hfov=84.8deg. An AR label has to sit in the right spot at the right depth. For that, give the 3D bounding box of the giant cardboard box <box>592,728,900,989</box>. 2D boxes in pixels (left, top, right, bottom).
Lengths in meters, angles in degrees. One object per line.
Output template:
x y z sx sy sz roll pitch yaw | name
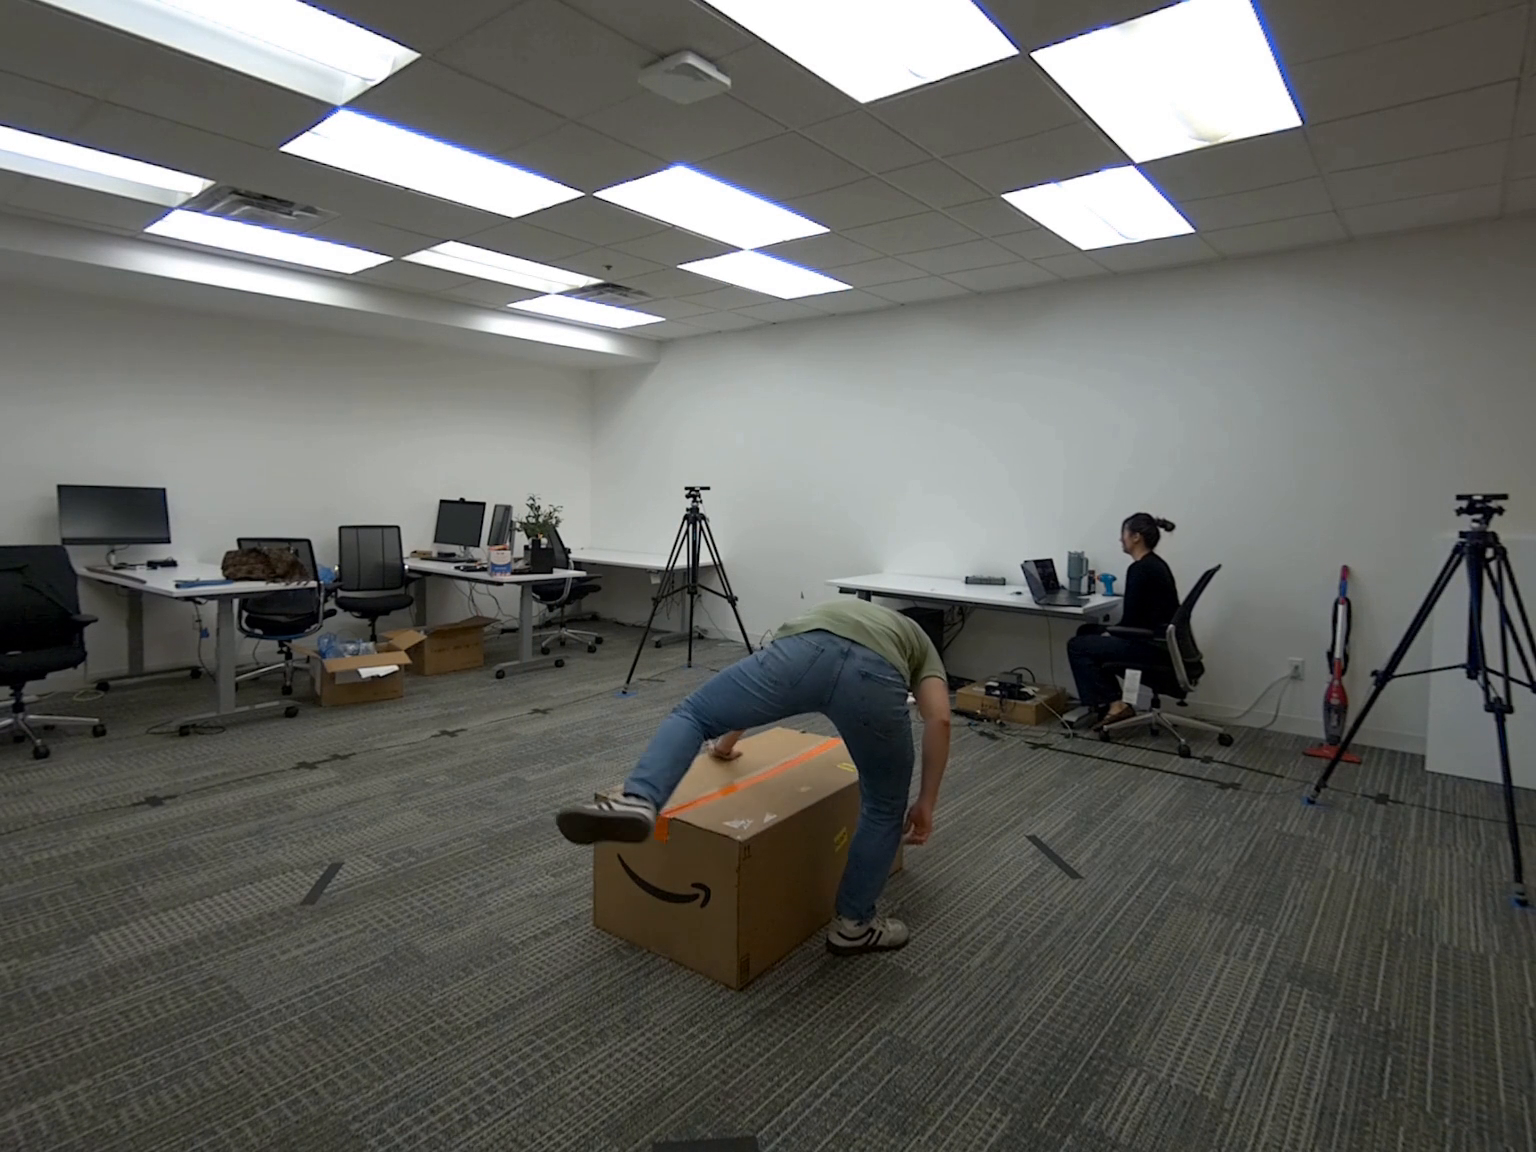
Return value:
-0.036 0.877 2.905 0.596 0.424 0.997 5 6 36 | giant cardboard box
